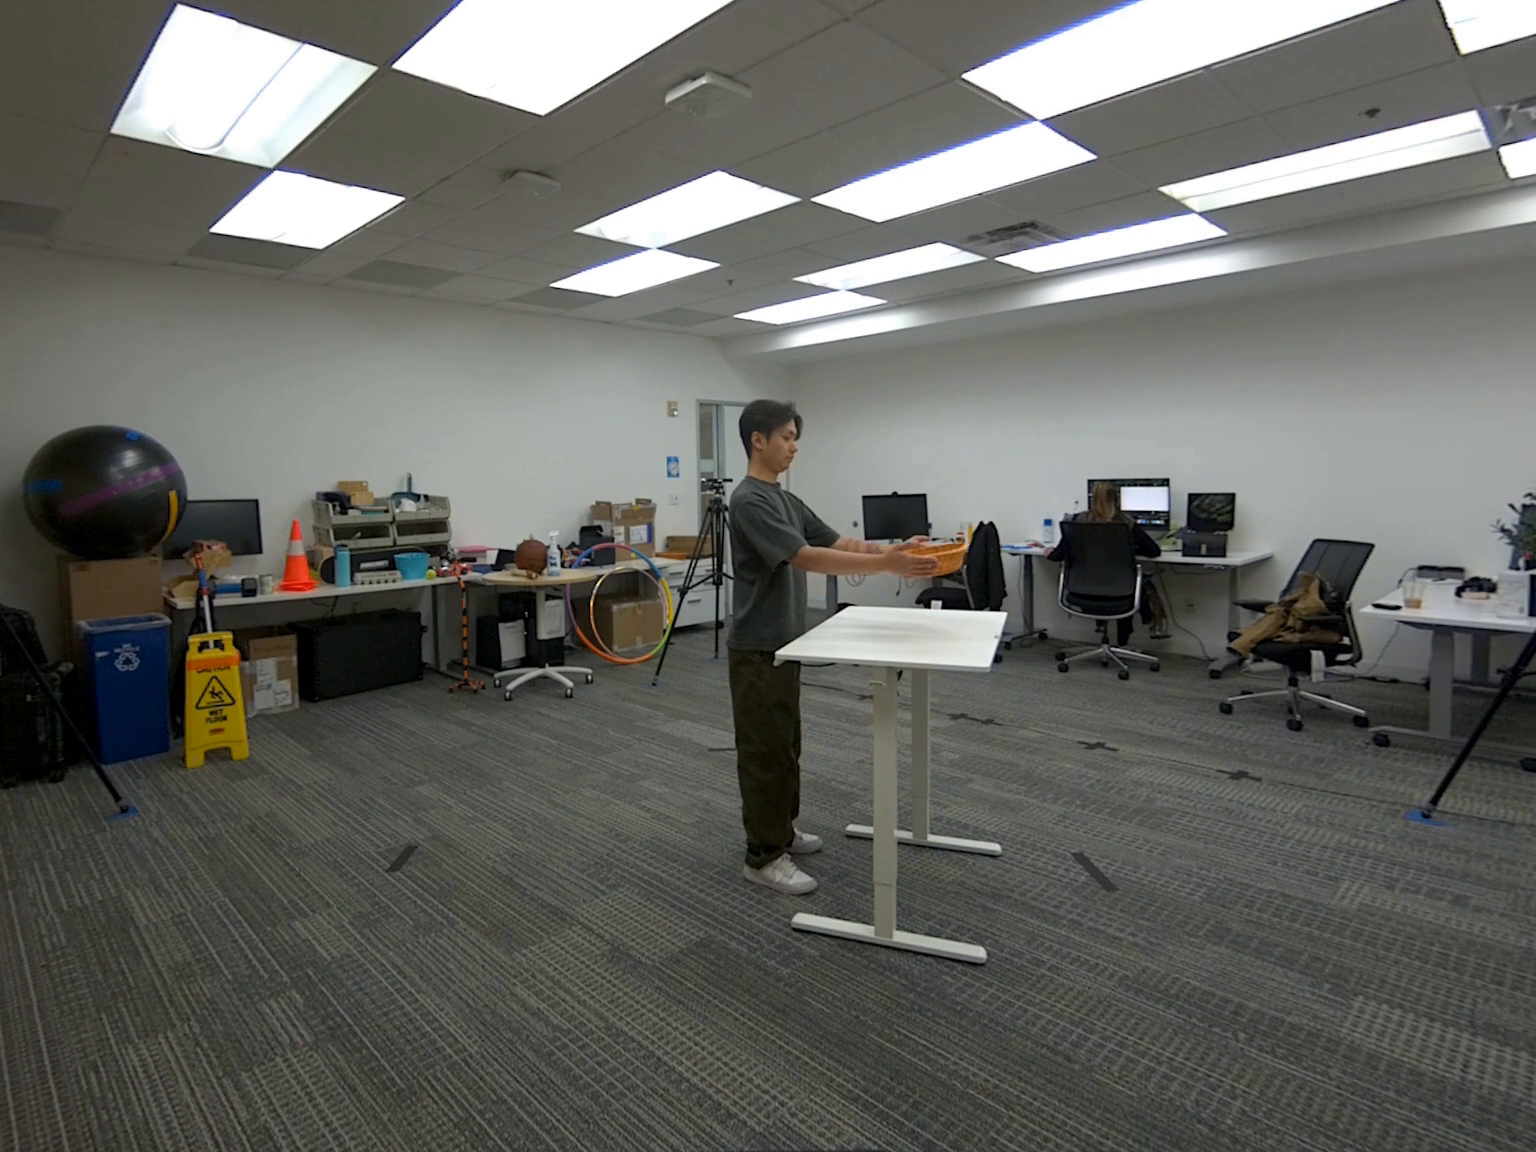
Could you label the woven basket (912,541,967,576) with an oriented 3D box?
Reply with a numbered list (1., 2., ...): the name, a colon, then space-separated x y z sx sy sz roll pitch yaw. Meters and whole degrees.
1. woven basket: 0.502 -0.045 2.819 0.258 0.073 0.343 -3 5 30
